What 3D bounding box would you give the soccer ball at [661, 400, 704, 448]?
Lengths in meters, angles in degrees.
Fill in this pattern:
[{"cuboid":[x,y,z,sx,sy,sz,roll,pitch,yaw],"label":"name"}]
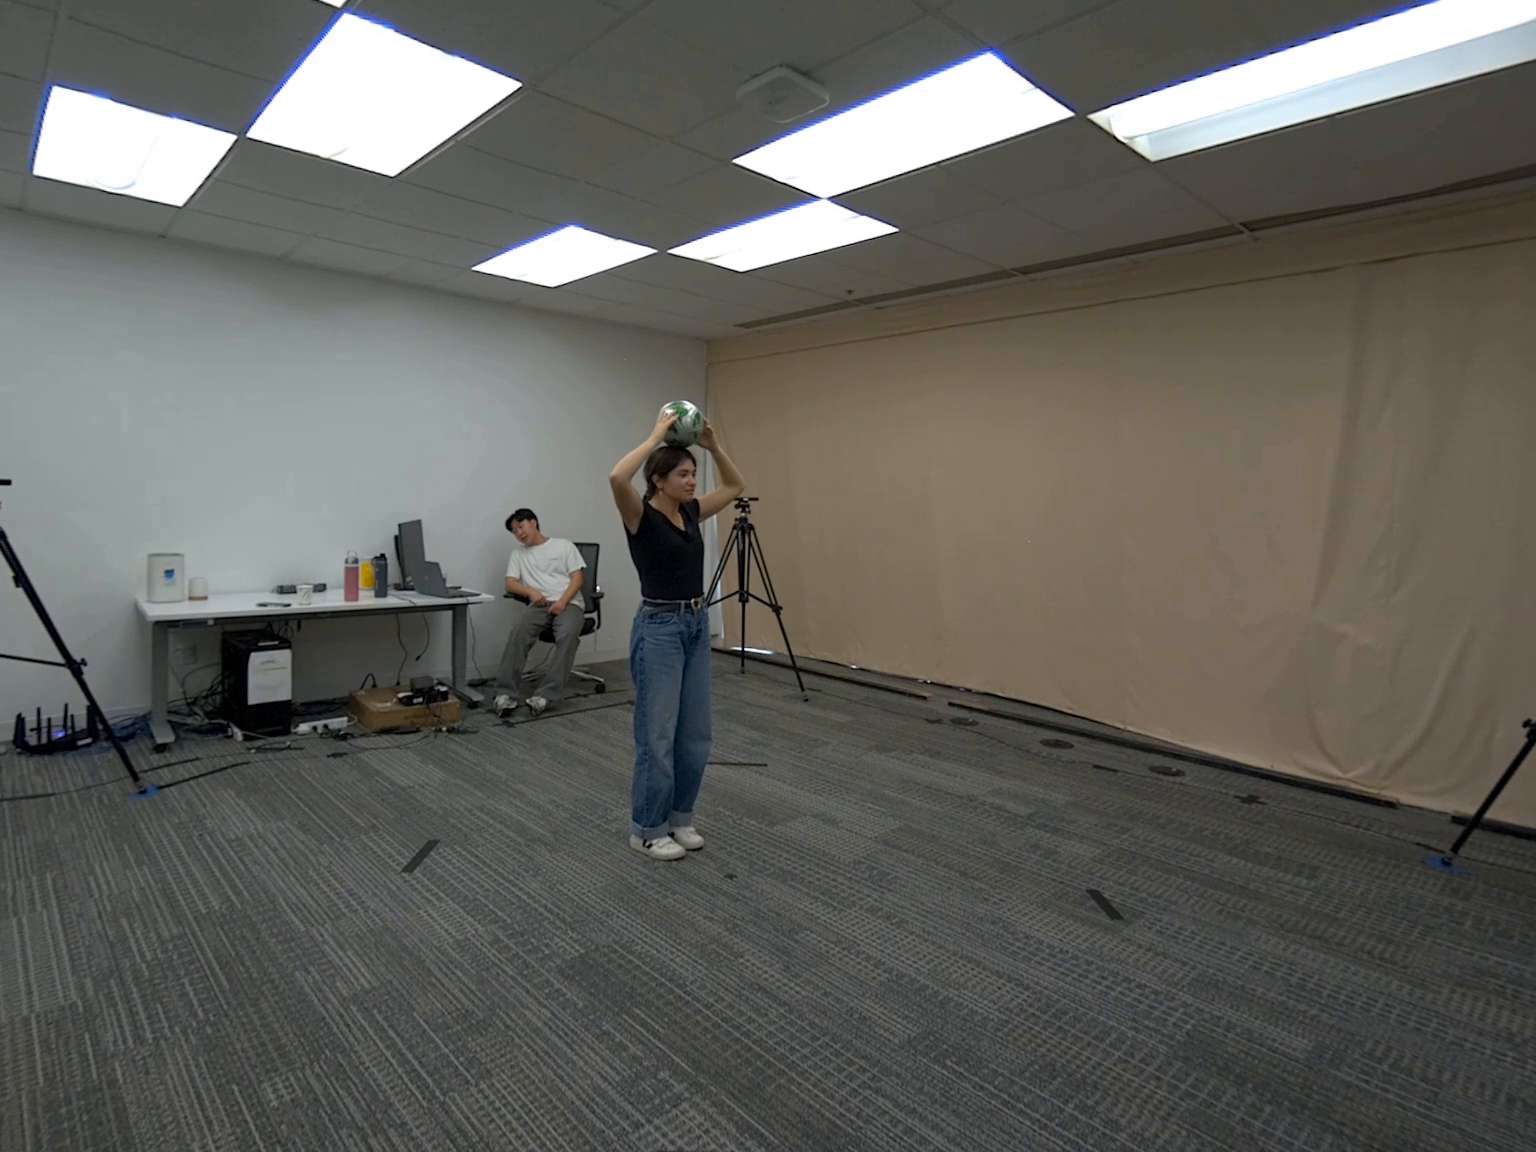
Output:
[{"cuboid":[-0.354,-0.592,3.292,0.187,0.187,0.188,1,4,-1],"label":"soccer ball"}]
